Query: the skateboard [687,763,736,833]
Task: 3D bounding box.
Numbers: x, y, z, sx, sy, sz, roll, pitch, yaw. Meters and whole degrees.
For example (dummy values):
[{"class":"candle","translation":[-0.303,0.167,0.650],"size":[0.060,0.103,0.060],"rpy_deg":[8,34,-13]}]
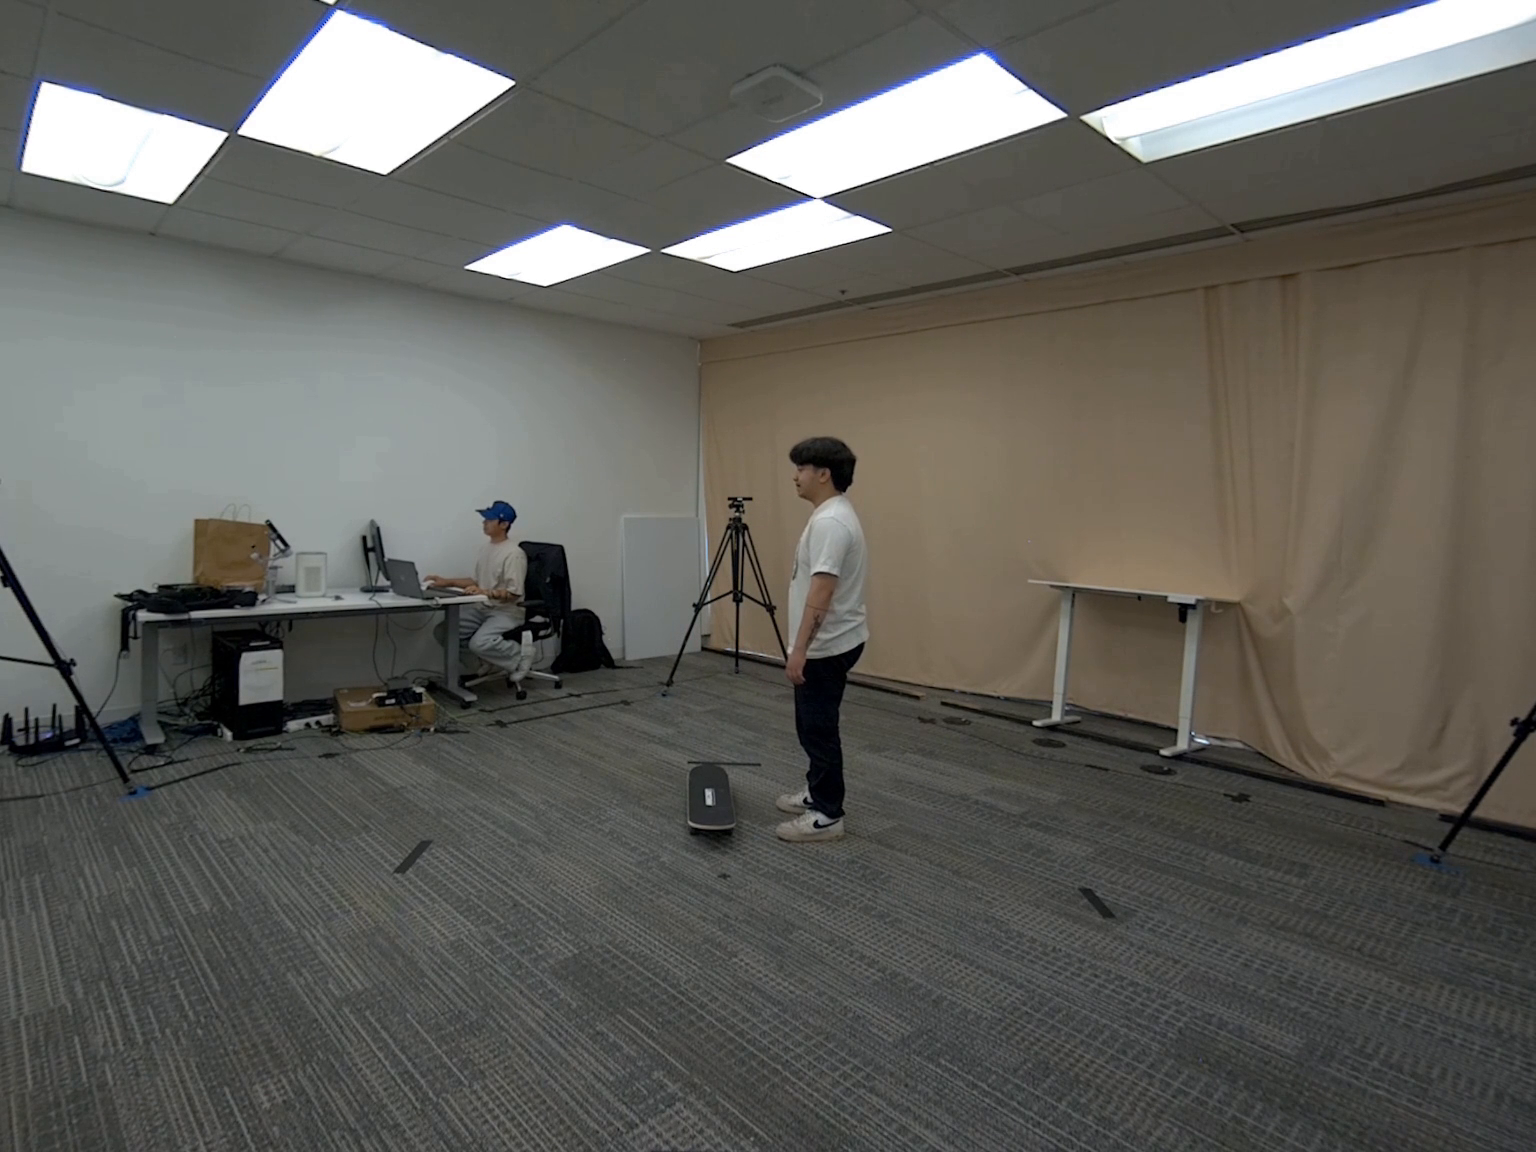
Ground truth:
[{"class":"skateboard","translation":[-0.261,0.993,3.683],"size":[0.193,0.110,0.791],"rpy_deg":[0,5,-6]}]
